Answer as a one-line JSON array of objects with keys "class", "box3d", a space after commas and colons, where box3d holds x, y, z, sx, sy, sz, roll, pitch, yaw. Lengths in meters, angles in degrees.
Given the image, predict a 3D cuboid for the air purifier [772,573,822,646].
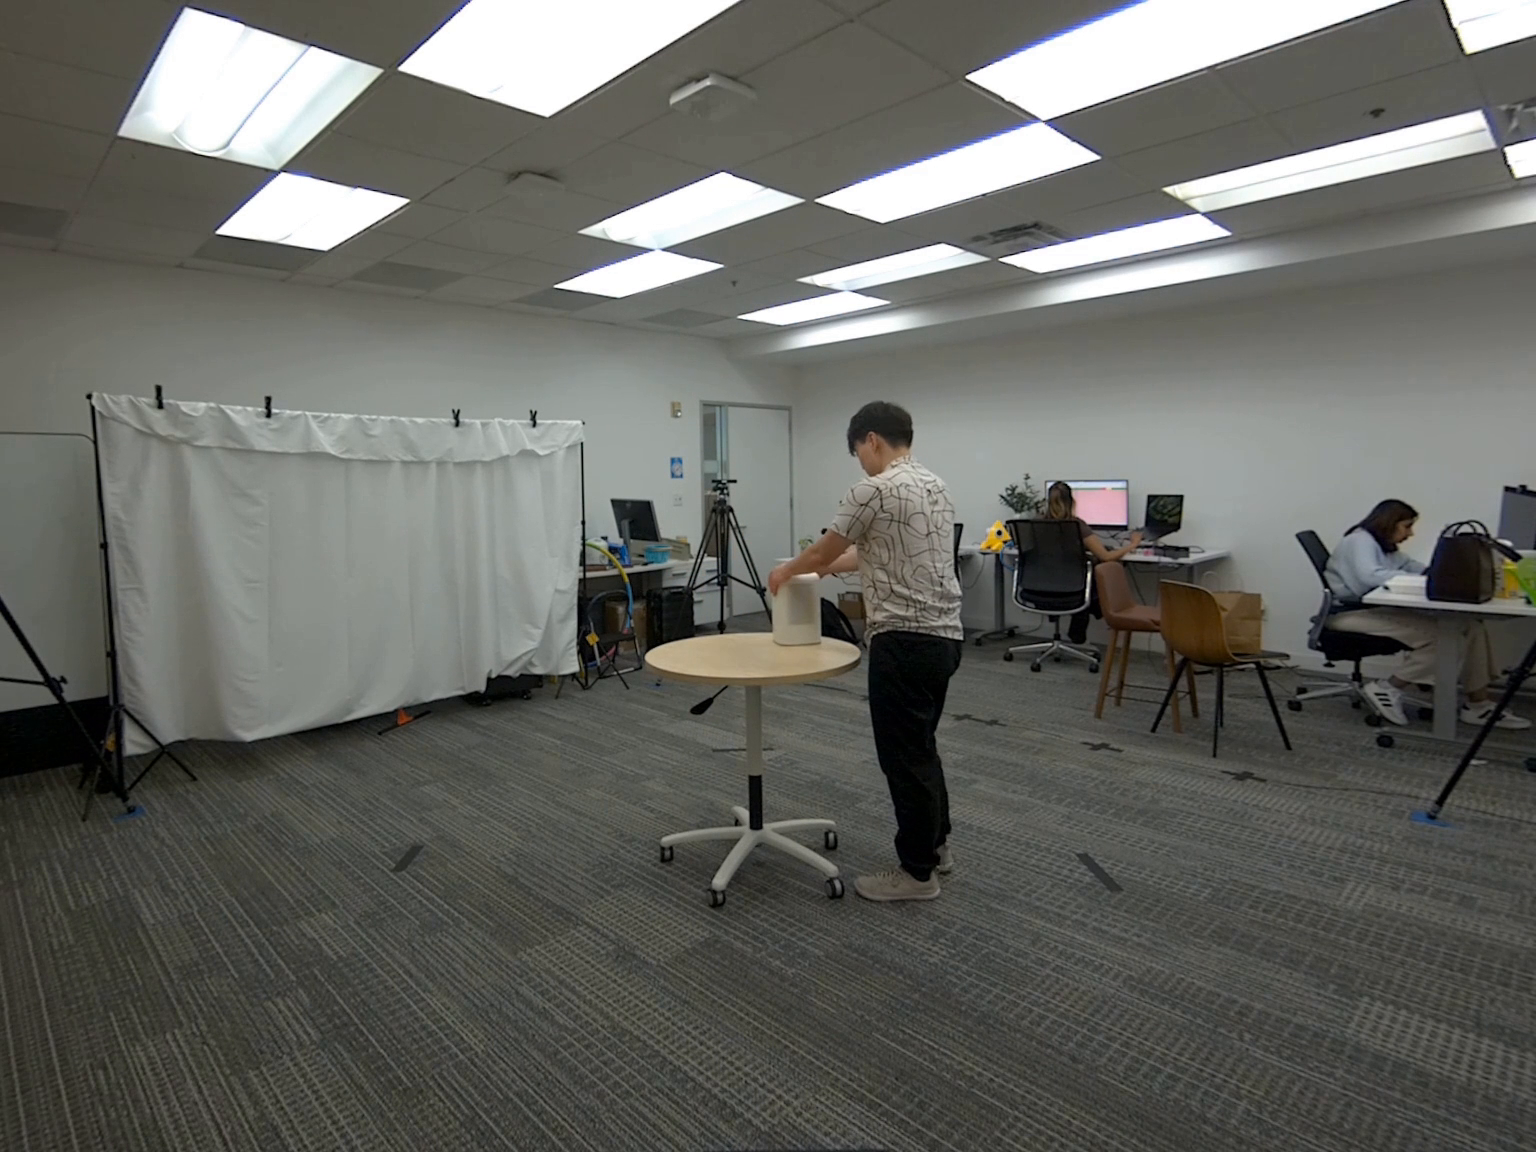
[{"class": "air purifier", "box3d": [0.112, 0.117, 3.220, 0.171, 0.264, 0.173, 2, 6, -6]}]
